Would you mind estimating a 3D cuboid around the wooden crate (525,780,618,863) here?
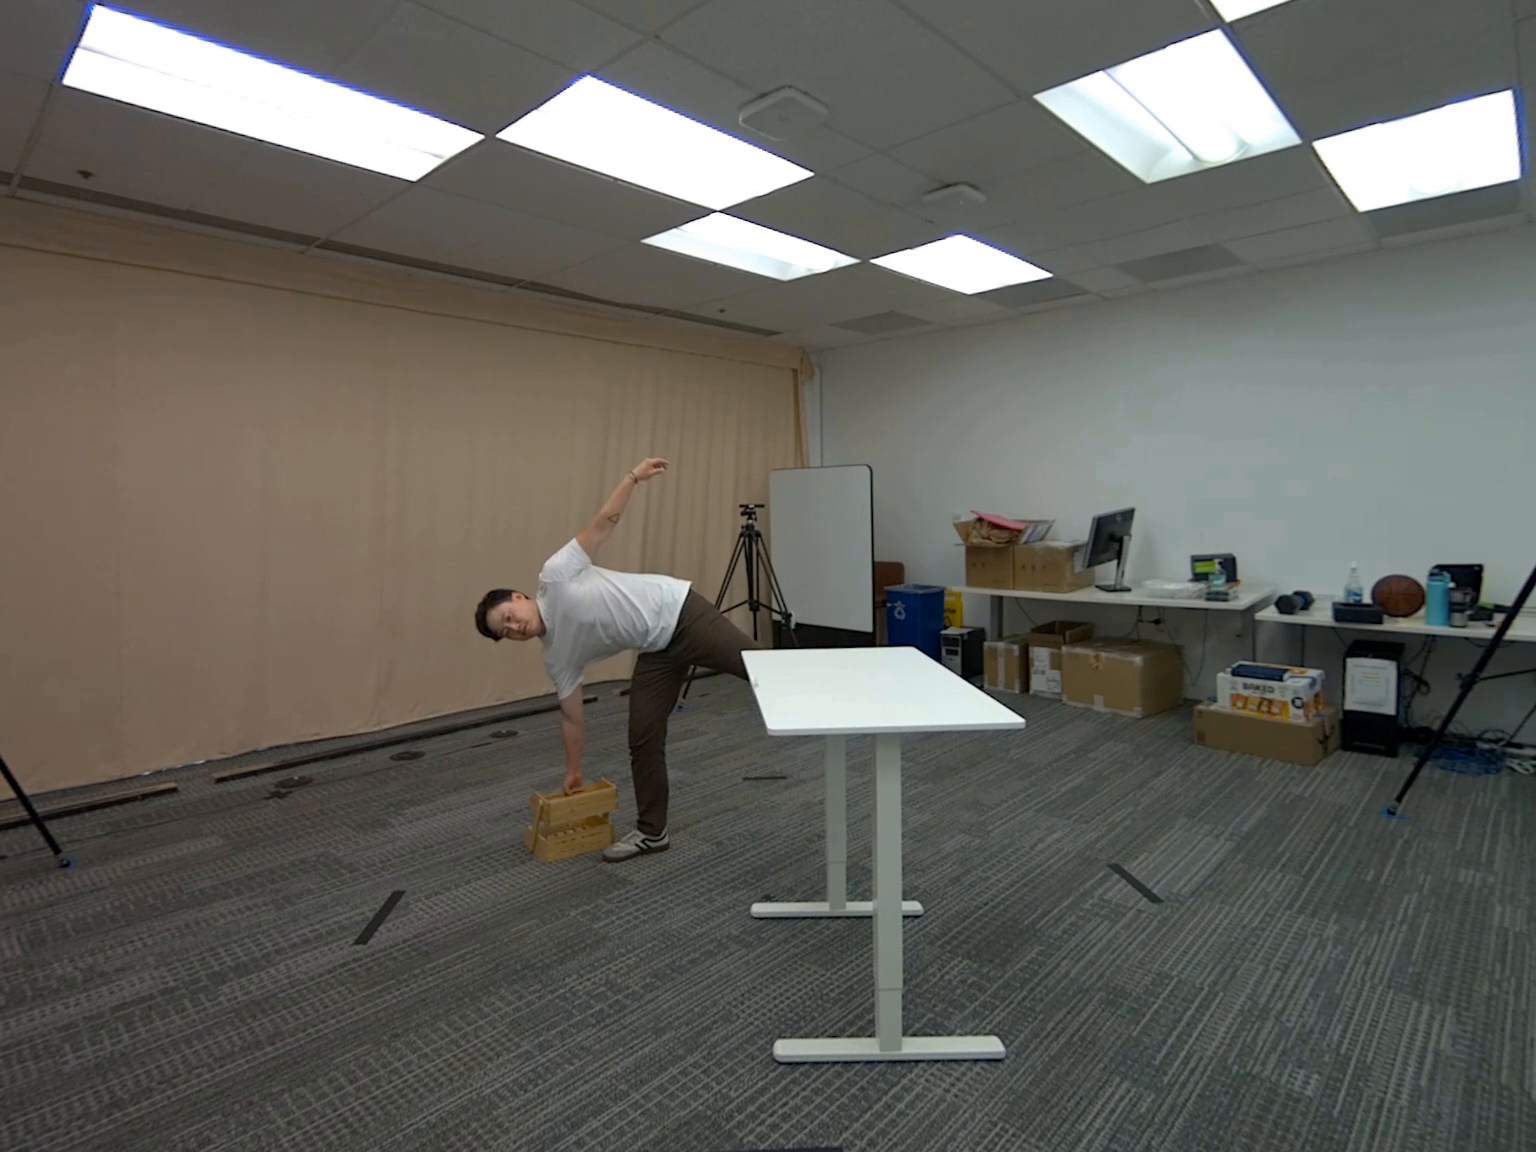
[{"bbox_3d":[-0.822,0.983,3.478,0.315,0.272,0.311,-4,6,-34],"label":"wooden crate"}]
